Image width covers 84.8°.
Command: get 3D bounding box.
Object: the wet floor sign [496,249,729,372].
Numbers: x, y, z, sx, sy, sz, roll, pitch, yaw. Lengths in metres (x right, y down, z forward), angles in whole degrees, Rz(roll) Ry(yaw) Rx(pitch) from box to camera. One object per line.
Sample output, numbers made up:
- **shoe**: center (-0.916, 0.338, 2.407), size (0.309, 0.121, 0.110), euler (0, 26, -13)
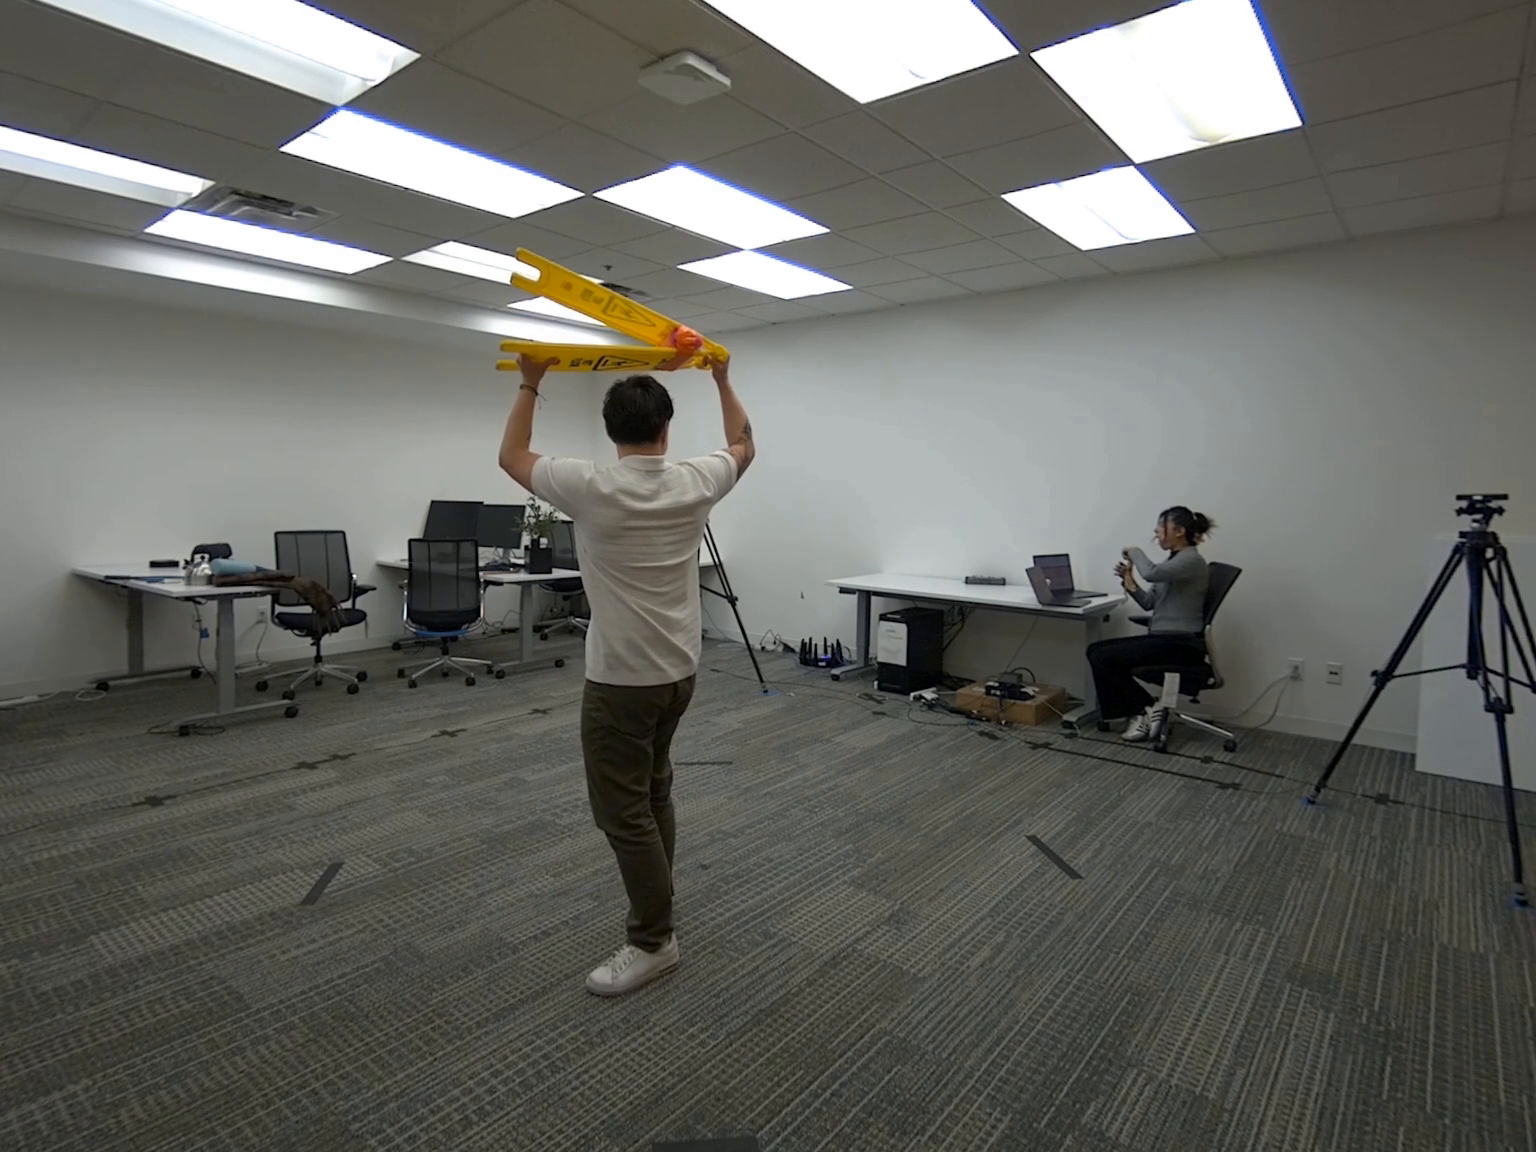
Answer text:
- **wet floor sign**: center (-0.458, -0.713, 2.504), size (0.633, 0.291, 0.287), euler (8, -4, -18)
